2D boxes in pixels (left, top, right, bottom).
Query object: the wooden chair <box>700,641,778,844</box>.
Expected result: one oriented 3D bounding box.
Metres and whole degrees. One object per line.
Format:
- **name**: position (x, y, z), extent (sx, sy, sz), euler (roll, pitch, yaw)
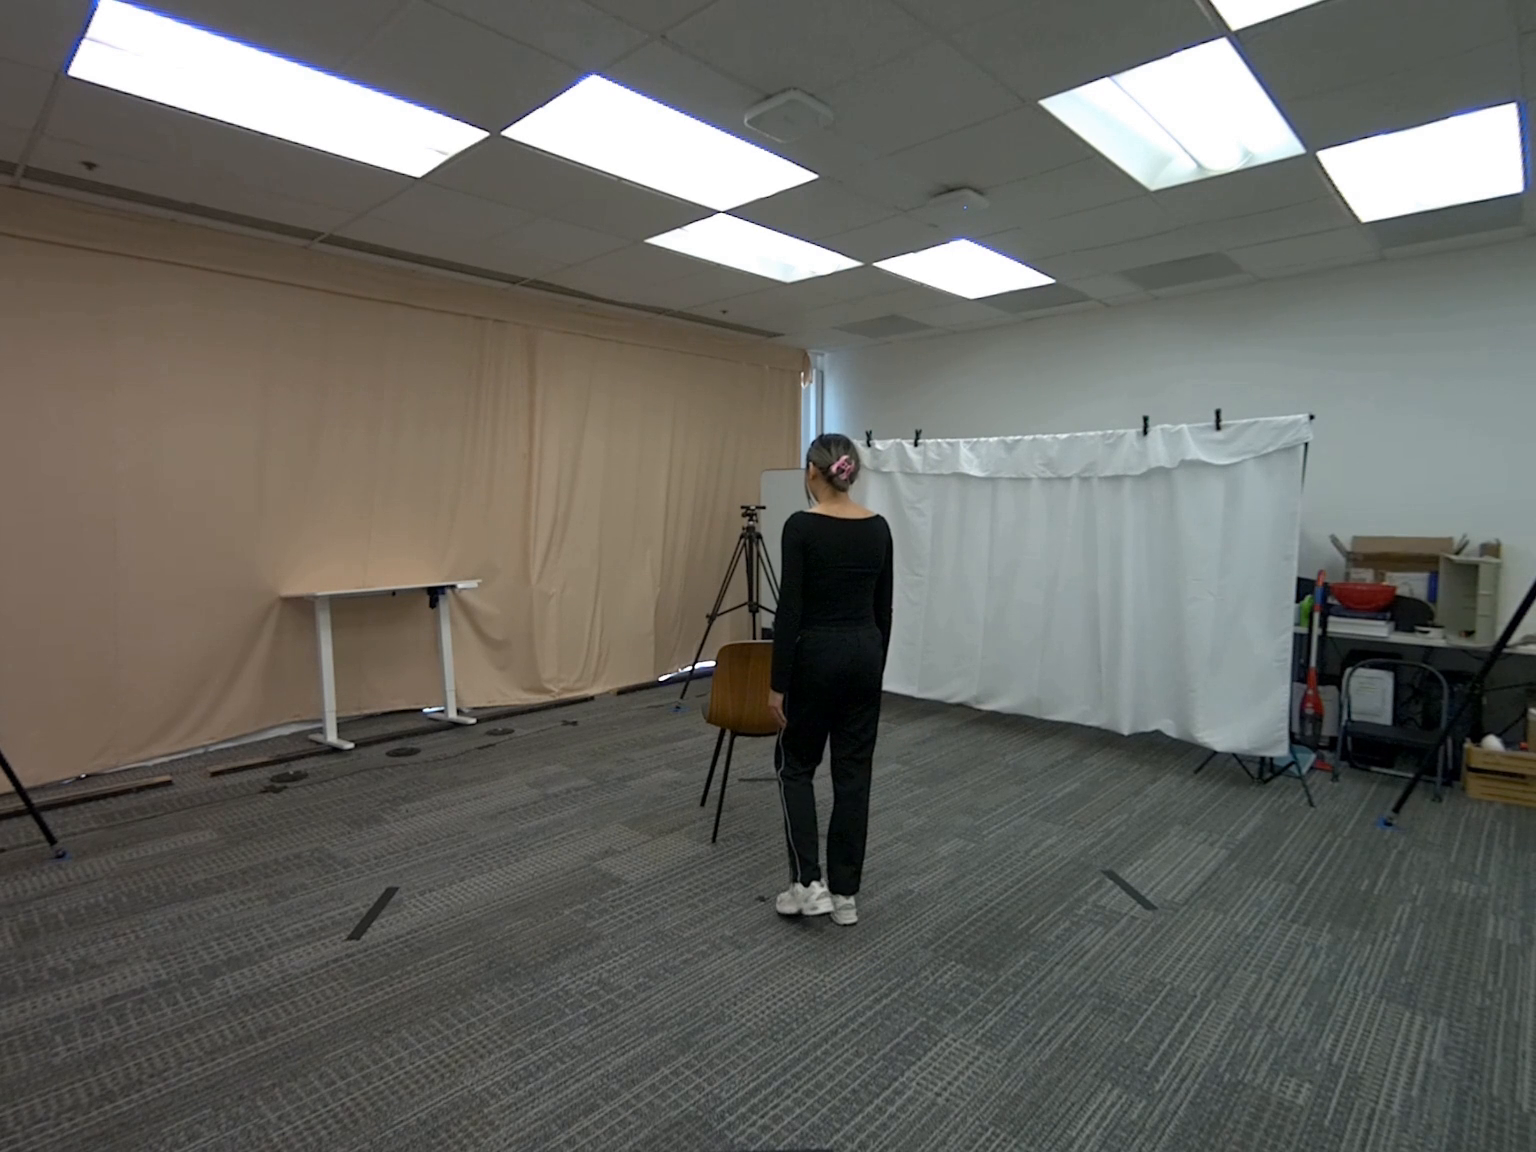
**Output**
- **wooden chair**: position (-0.056, 0.657, 3.703), extent (0.474, 0.874, 0.530), euler (-1, 7, -9)
